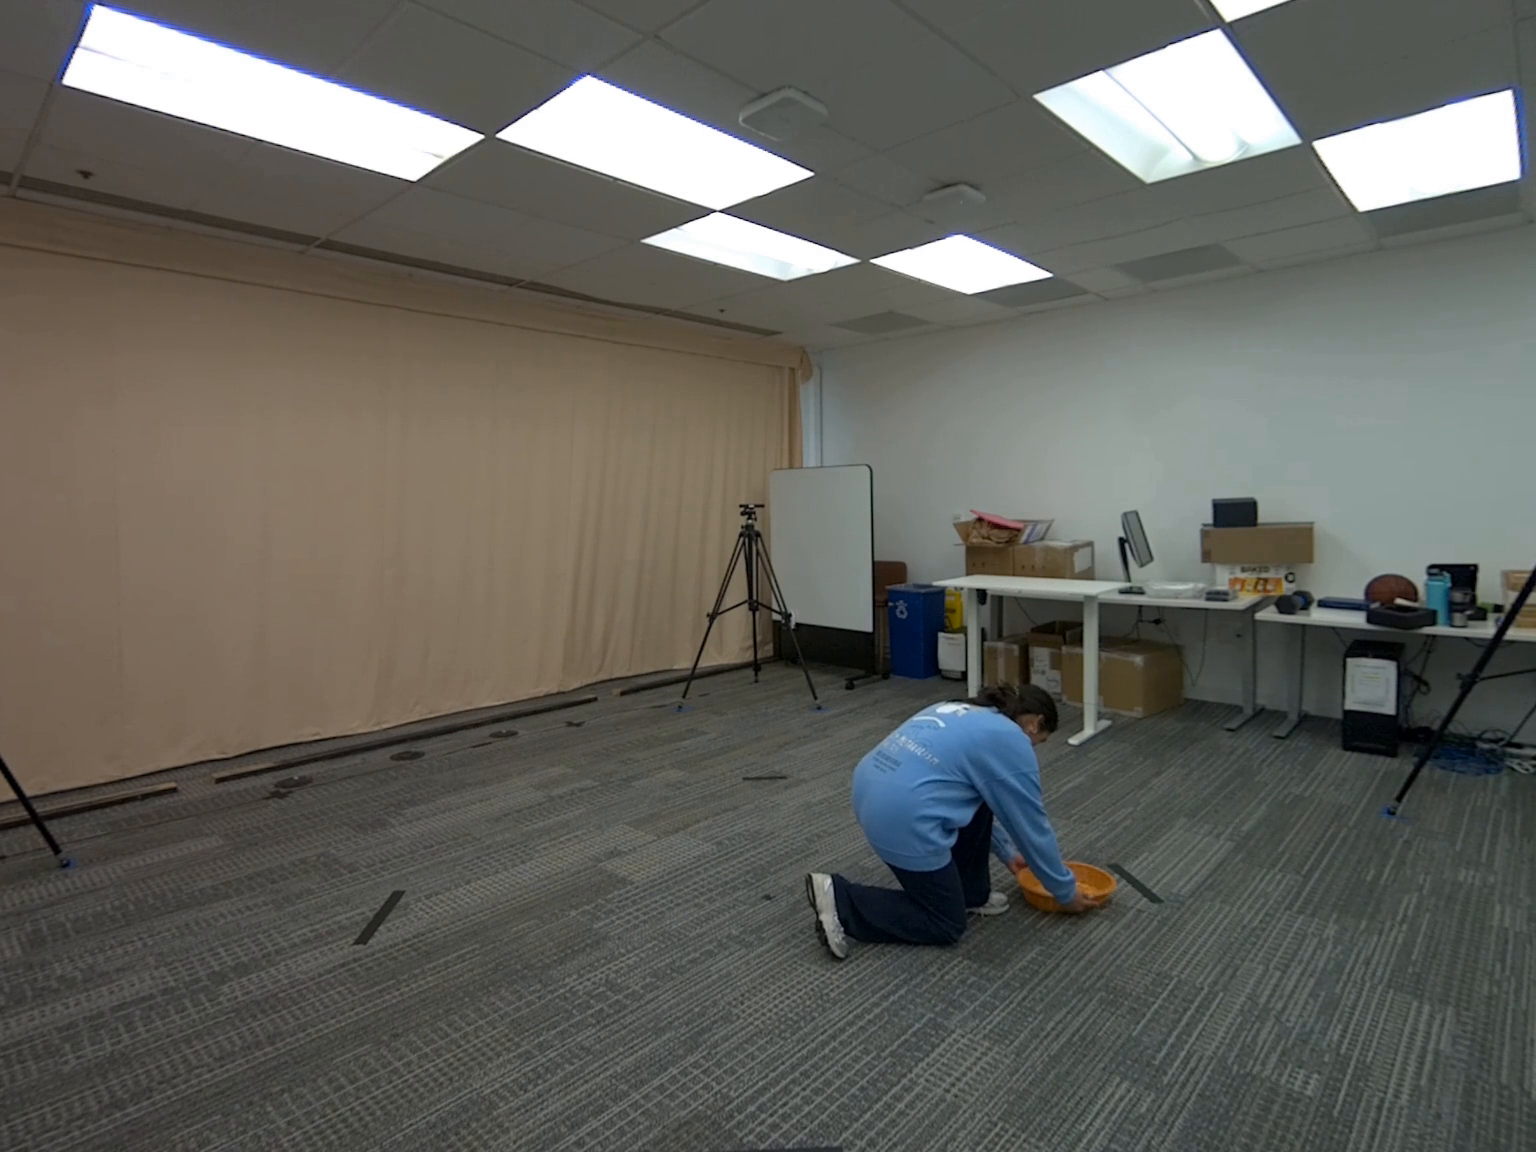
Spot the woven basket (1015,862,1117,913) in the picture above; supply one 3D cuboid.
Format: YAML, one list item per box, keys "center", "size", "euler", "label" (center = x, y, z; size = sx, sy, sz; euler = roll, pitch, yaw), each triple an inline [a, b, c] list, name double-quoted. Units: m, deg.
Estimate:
- center: [1.042, 1.087, 2.920]
  size: [0.347, 0.073, 0.256]
  euler: [-1, 6, -10]
  label: "woven basket"
